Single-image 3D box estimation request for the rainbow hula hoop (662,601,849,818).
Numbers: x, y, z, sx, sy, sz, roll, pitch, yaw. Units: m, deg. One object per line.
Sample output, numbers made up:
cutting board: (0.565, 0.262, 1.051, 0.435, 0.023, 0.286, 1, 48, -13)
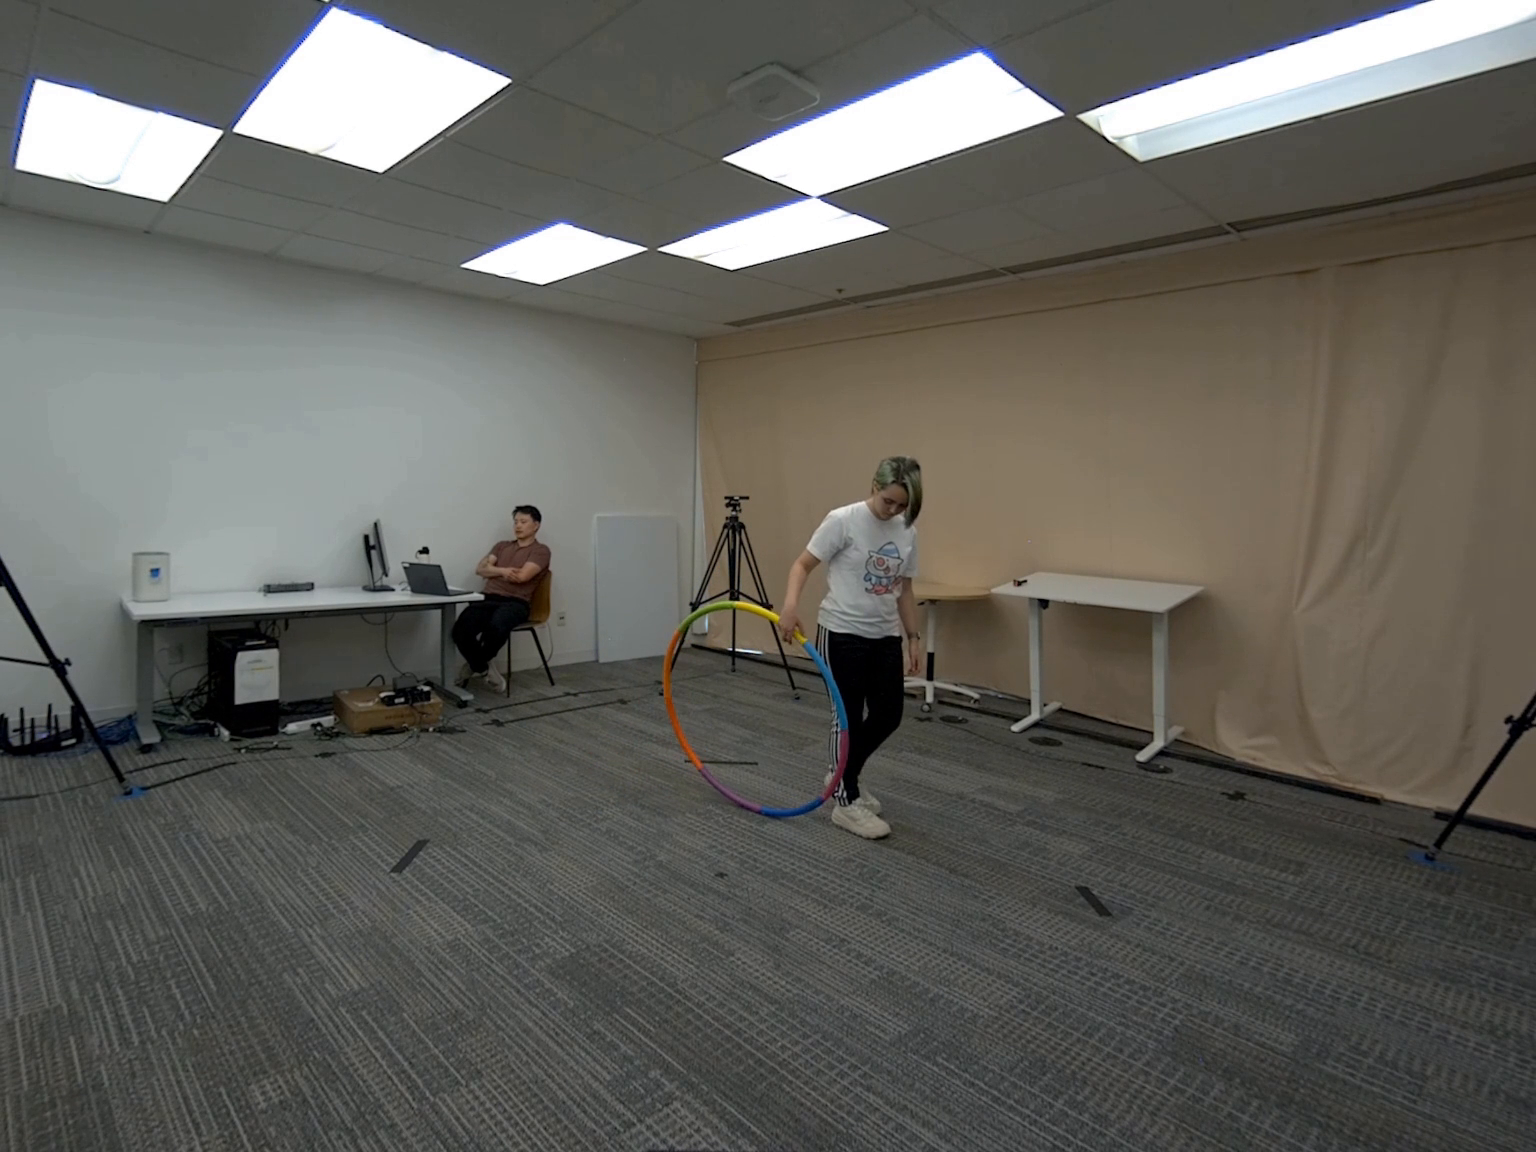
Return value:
rainbow hula hoop: (-0.093, 0.580, 3.640, 1.003, 0.968, 0.035, 5, 16, 39)
